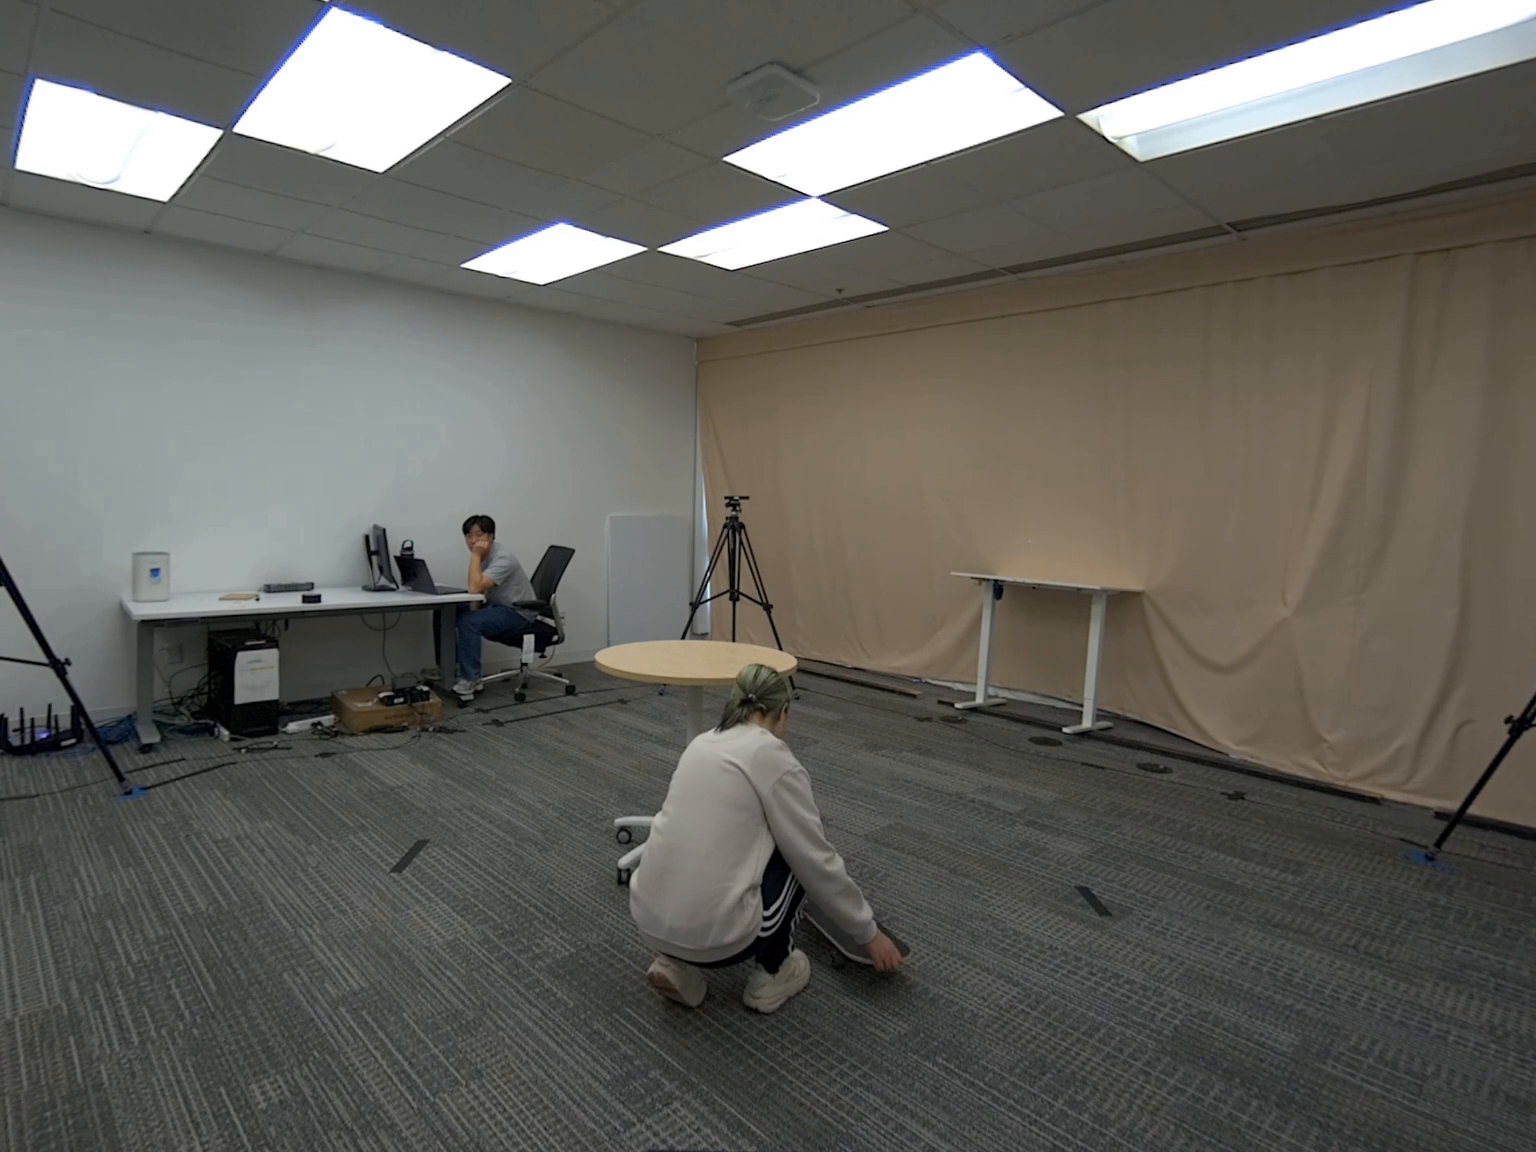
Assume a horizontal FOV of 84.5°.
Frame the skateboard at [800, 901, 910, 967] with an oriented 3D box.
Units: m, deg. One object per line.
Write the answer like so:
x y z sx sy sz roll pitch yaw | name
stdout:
0.175 1.091 2.714 0.190 0.110 0.802 0 6 -25 | skateboard
